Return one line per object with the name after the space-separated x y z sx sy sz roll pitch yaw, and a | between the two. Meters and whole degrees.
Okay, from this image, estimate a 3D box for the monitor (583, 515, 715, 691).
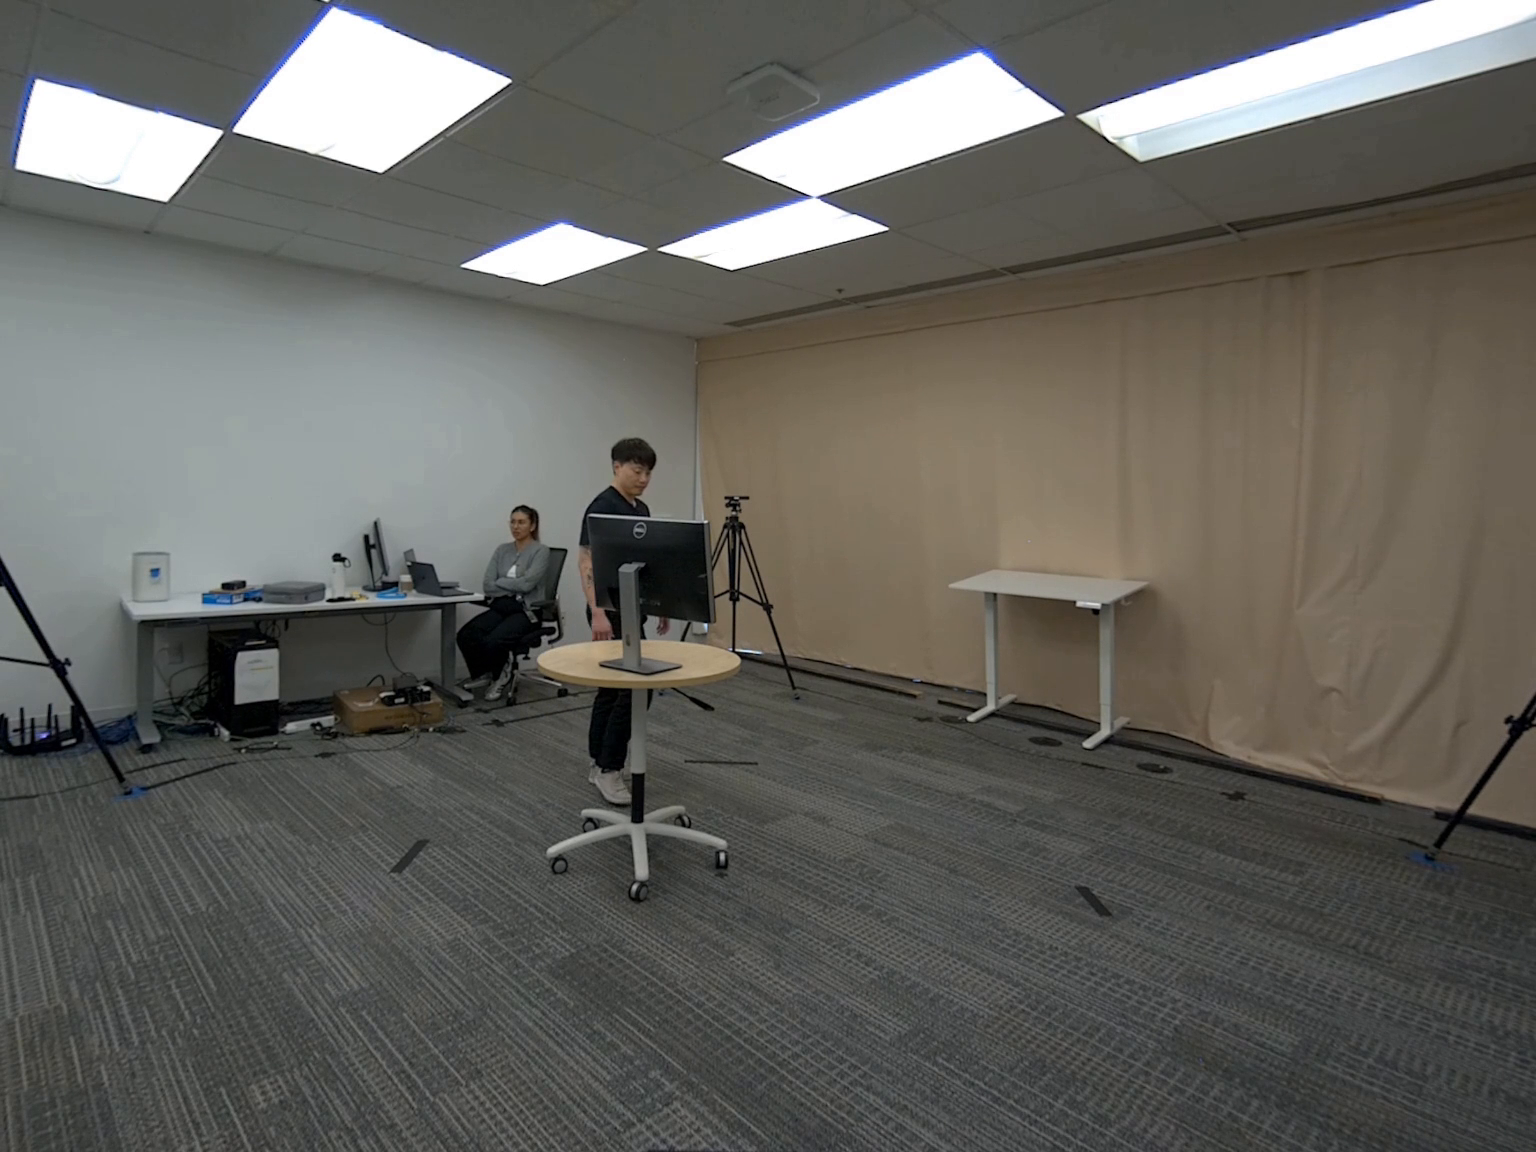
-0.459 0.067 3.022 0.551 0.521 0.183 5 4 32 | monitor
